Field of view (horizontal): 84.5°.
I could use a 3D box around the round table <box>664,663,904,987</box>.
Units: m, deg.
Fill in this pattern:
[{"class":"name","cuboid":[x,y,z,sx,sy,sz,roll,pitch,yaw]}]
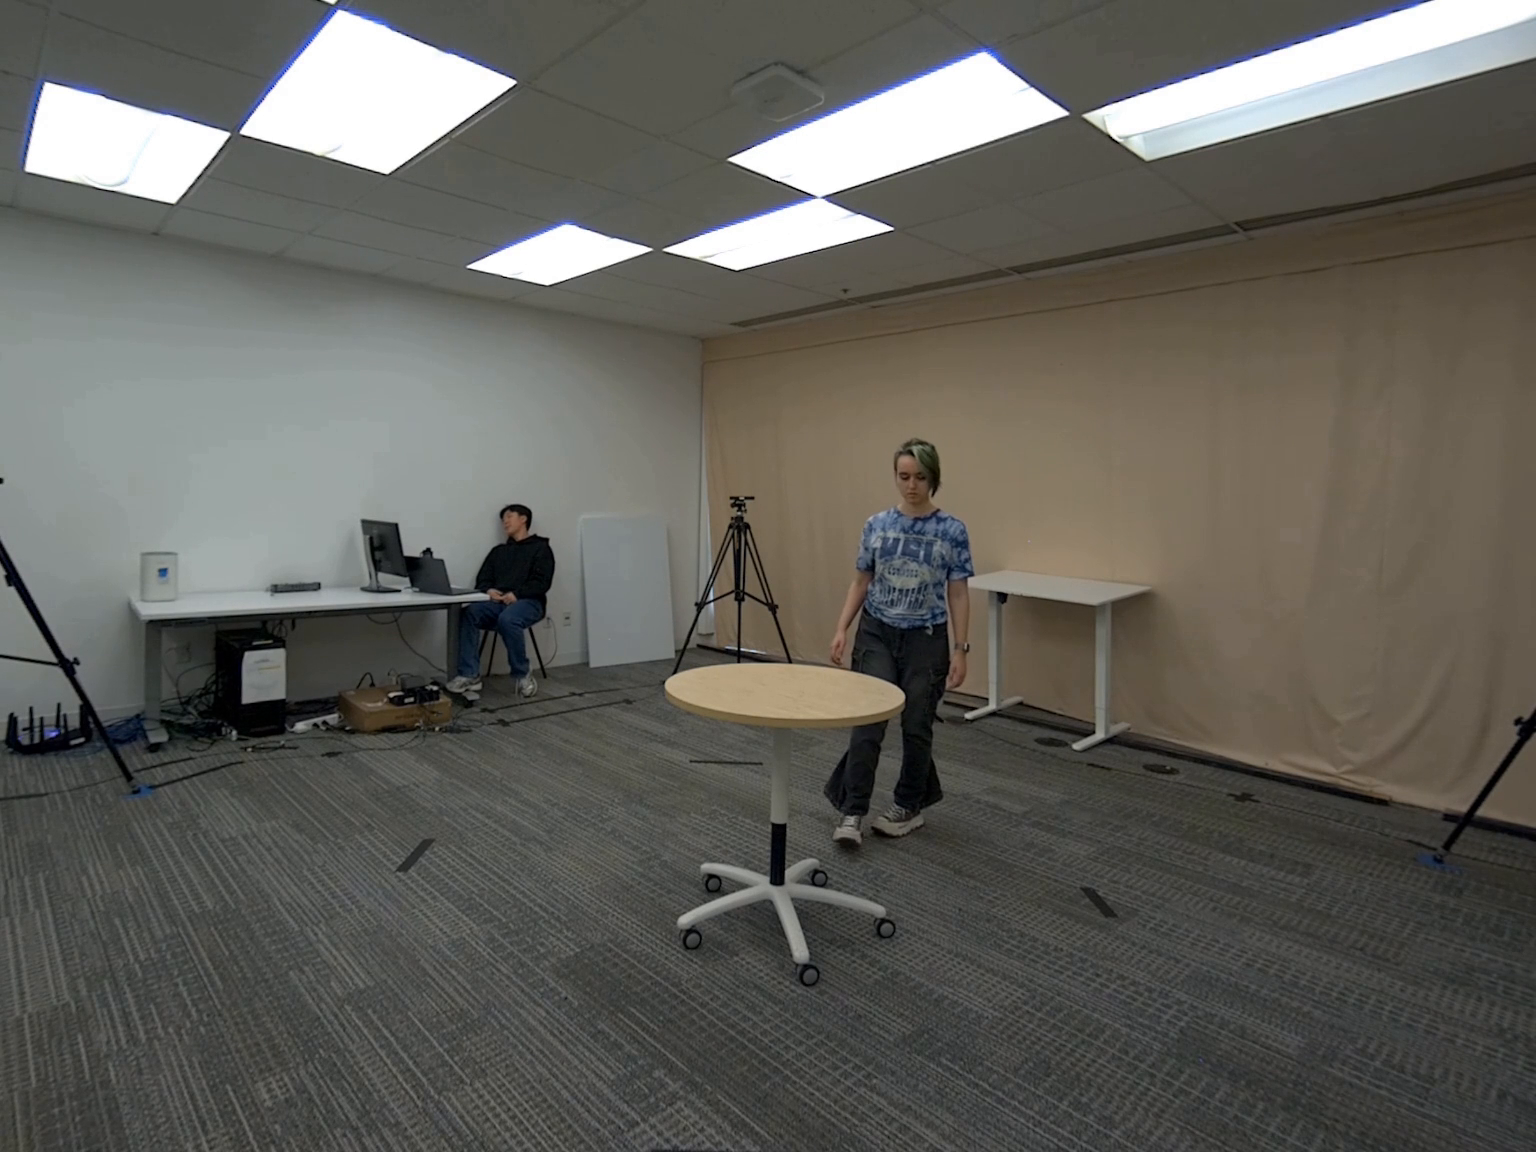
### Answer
[{"class":"round table","cuboid":[0.030,0.752,2.731,0.763,0.792,0.766,2,4,-1]}]
